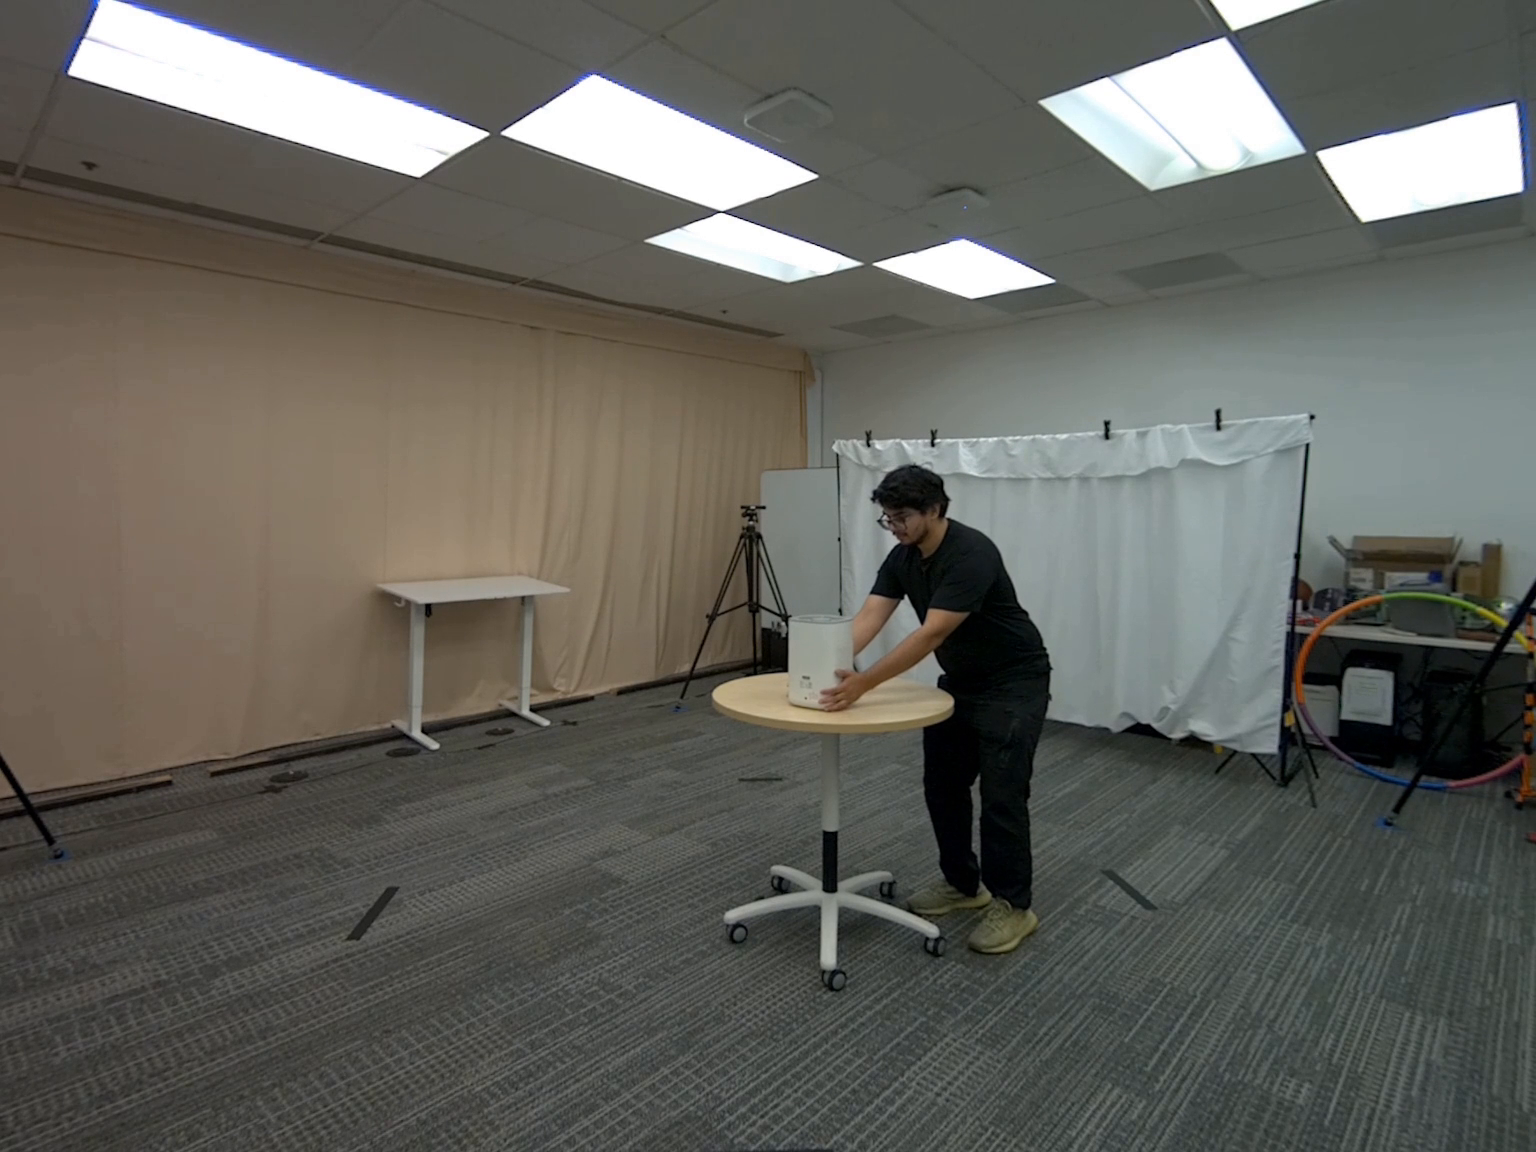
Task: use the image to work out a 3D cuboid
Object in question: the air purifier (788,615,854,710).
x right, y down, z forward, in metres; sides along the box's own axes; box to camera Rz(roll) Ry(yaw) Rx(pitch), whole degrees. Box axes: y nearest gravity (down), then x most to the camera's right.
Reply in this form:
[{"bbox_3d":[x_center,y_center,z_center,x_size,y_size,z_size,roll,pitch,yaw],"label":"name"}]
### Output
[{"bbox_3d":[0.167,0.260,2.558,0.176,0.264,0.167,2,5,32],"label":"air purifier"}]
